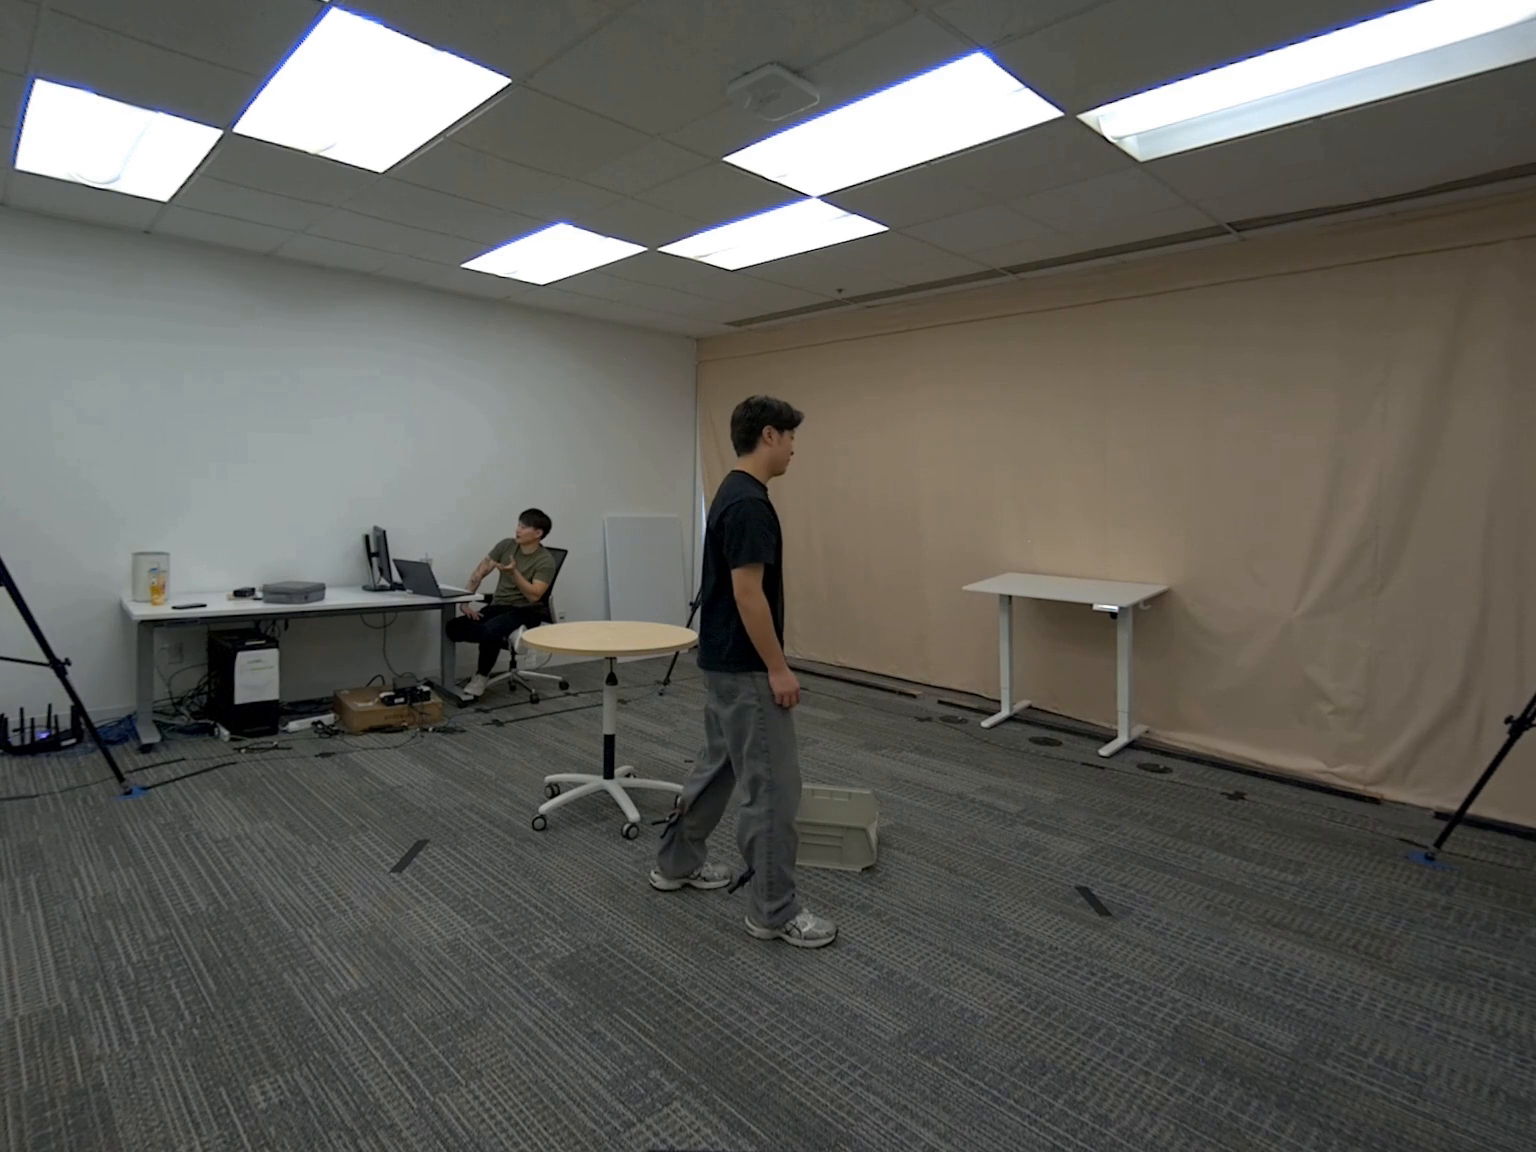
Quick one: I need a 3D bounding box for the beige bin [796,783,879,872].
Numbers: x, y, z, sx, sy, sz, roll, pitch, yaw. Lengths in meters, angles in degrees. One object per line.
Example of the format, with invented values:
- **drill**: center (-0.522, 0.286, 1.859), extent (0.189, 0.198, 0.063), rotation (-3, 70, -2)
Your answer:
- **beige bin**: center (0.244, 0.999, 3.378), extent (0.381, 0.188, 0.420), rotation (1, 5, 10)
